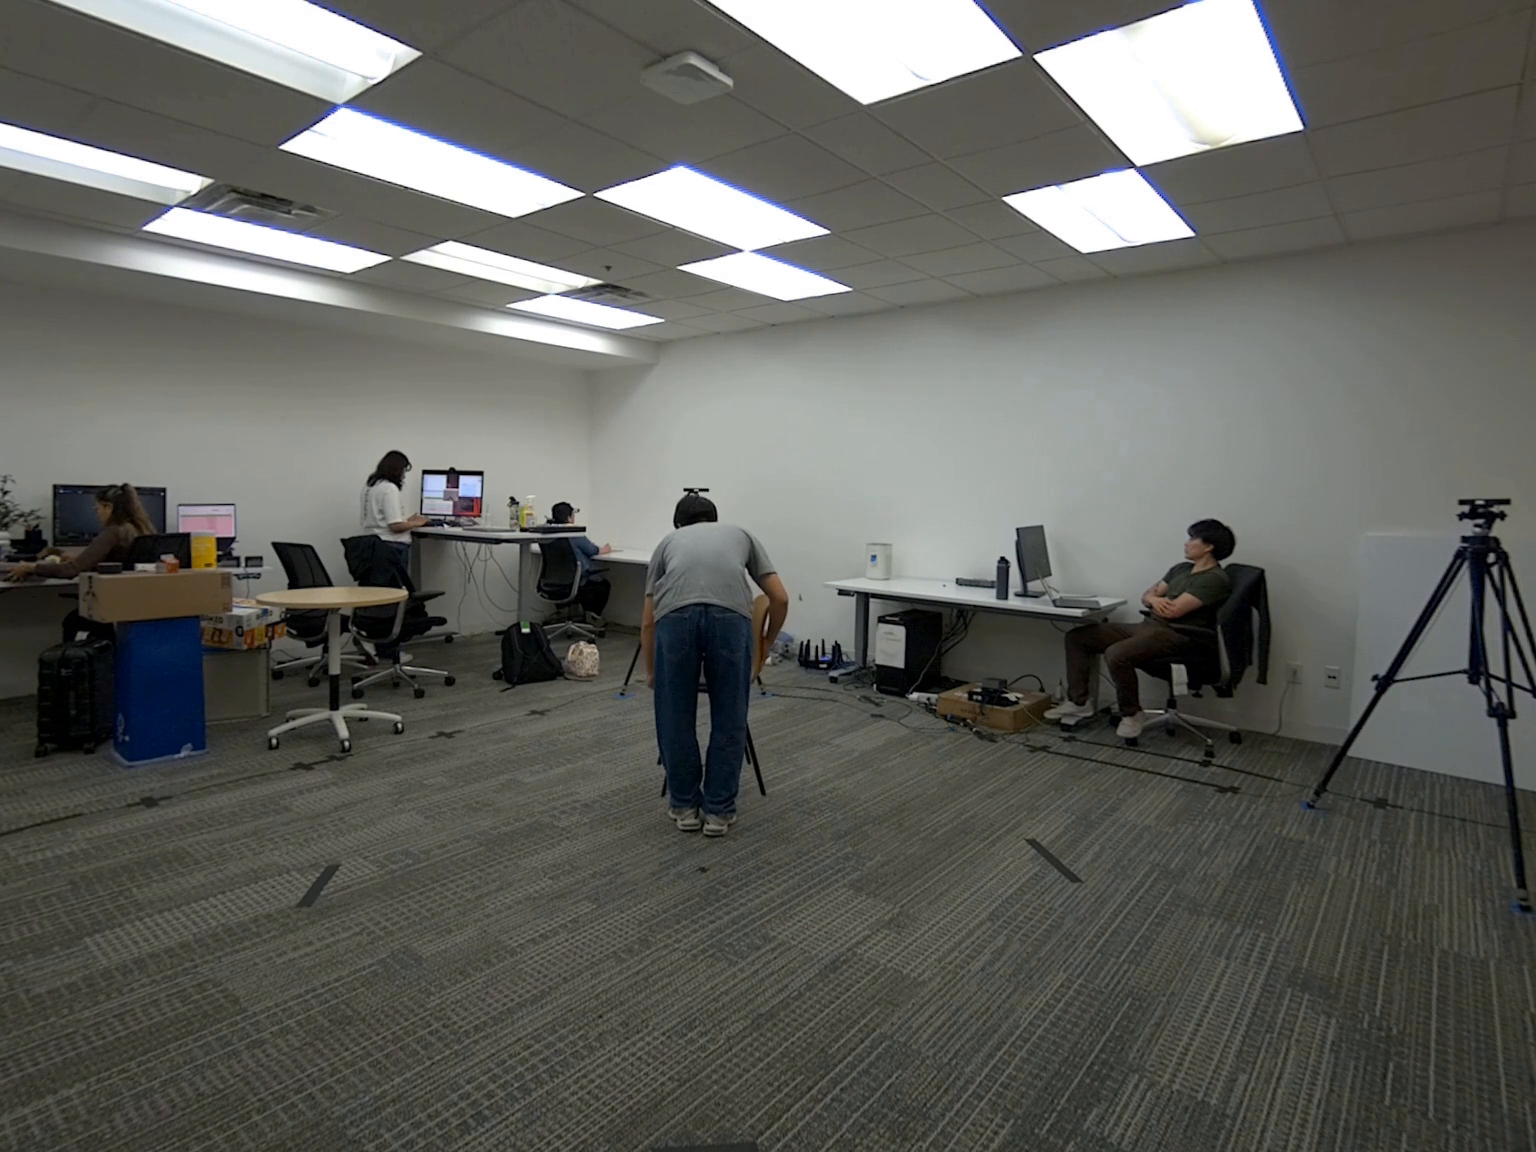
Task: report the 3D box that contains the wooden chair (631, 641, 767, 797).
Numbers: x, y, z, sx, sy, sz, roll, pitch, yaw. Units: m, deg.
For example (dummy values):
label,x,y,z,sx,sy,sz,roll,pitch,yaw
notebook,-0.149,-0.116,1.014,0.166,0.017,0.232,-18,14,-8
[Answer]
label,x,y,z,sx,sy,sz,roll,pitch,yaw
wooden chair,-0.284,0.492,3.850,0.519,0.875,0.483,5,3,-9
